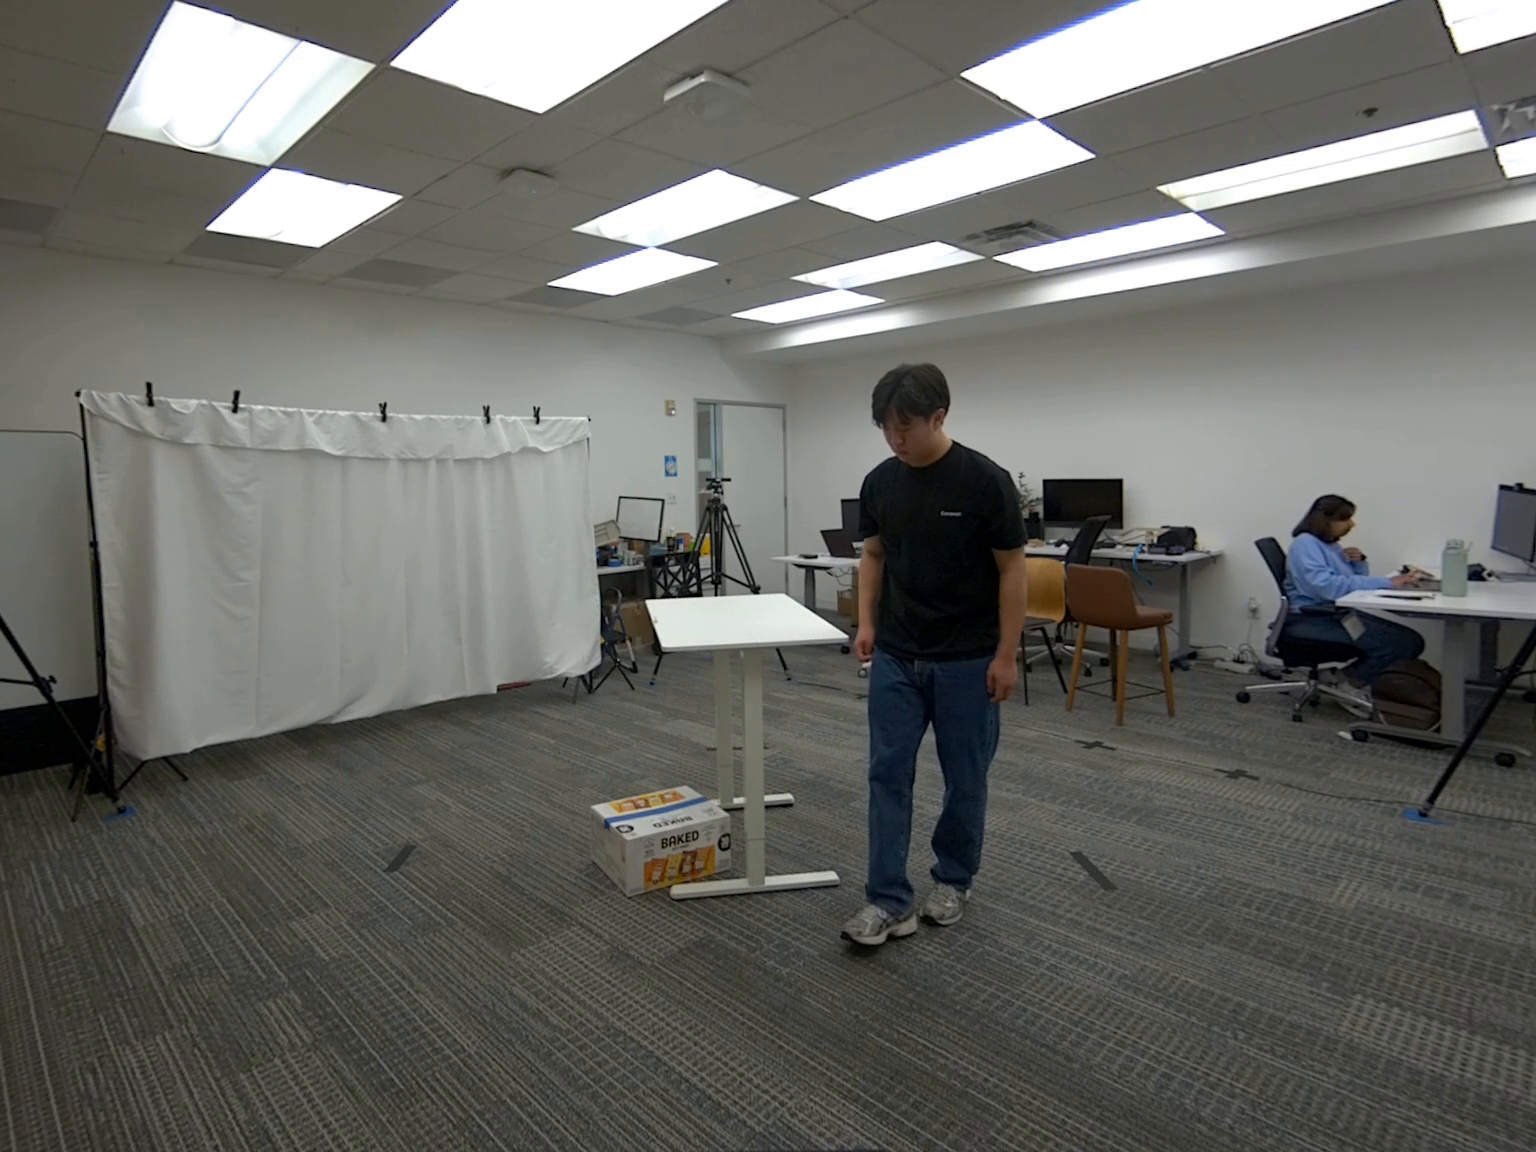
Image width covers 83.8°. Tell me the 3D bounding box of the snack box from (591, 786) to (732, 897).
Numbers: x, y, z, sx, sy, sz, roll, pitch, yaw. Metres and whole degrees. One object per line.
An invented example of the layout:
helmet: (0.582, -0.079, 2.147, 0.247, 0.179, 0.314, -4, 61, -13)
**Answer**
snack box: (-0.391, 0.948, 3.091, 0.395, 0.205, 0.350, -4, 7, -31)
